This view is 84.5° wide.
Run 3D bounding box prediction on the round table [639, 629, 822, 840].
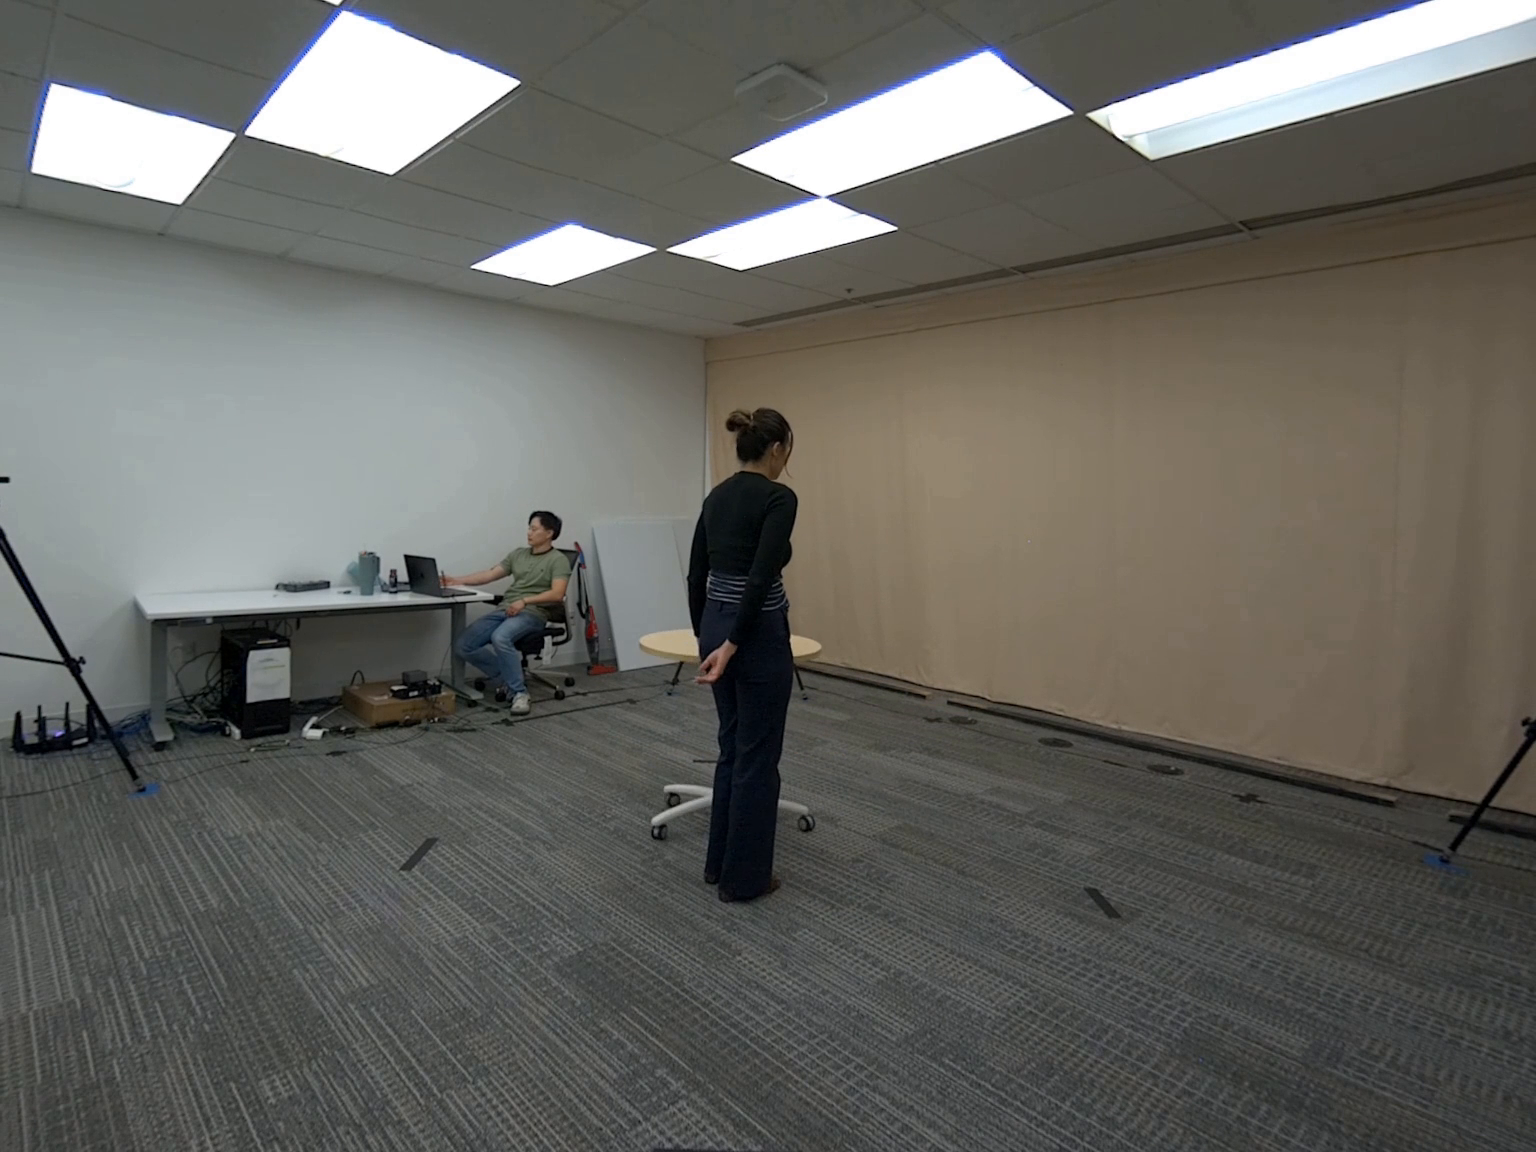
[{"bbox_3d":[-0.178,0.675,3.560,0.763,0.792,0.766,2,3,-1],"label":"round table"}]
